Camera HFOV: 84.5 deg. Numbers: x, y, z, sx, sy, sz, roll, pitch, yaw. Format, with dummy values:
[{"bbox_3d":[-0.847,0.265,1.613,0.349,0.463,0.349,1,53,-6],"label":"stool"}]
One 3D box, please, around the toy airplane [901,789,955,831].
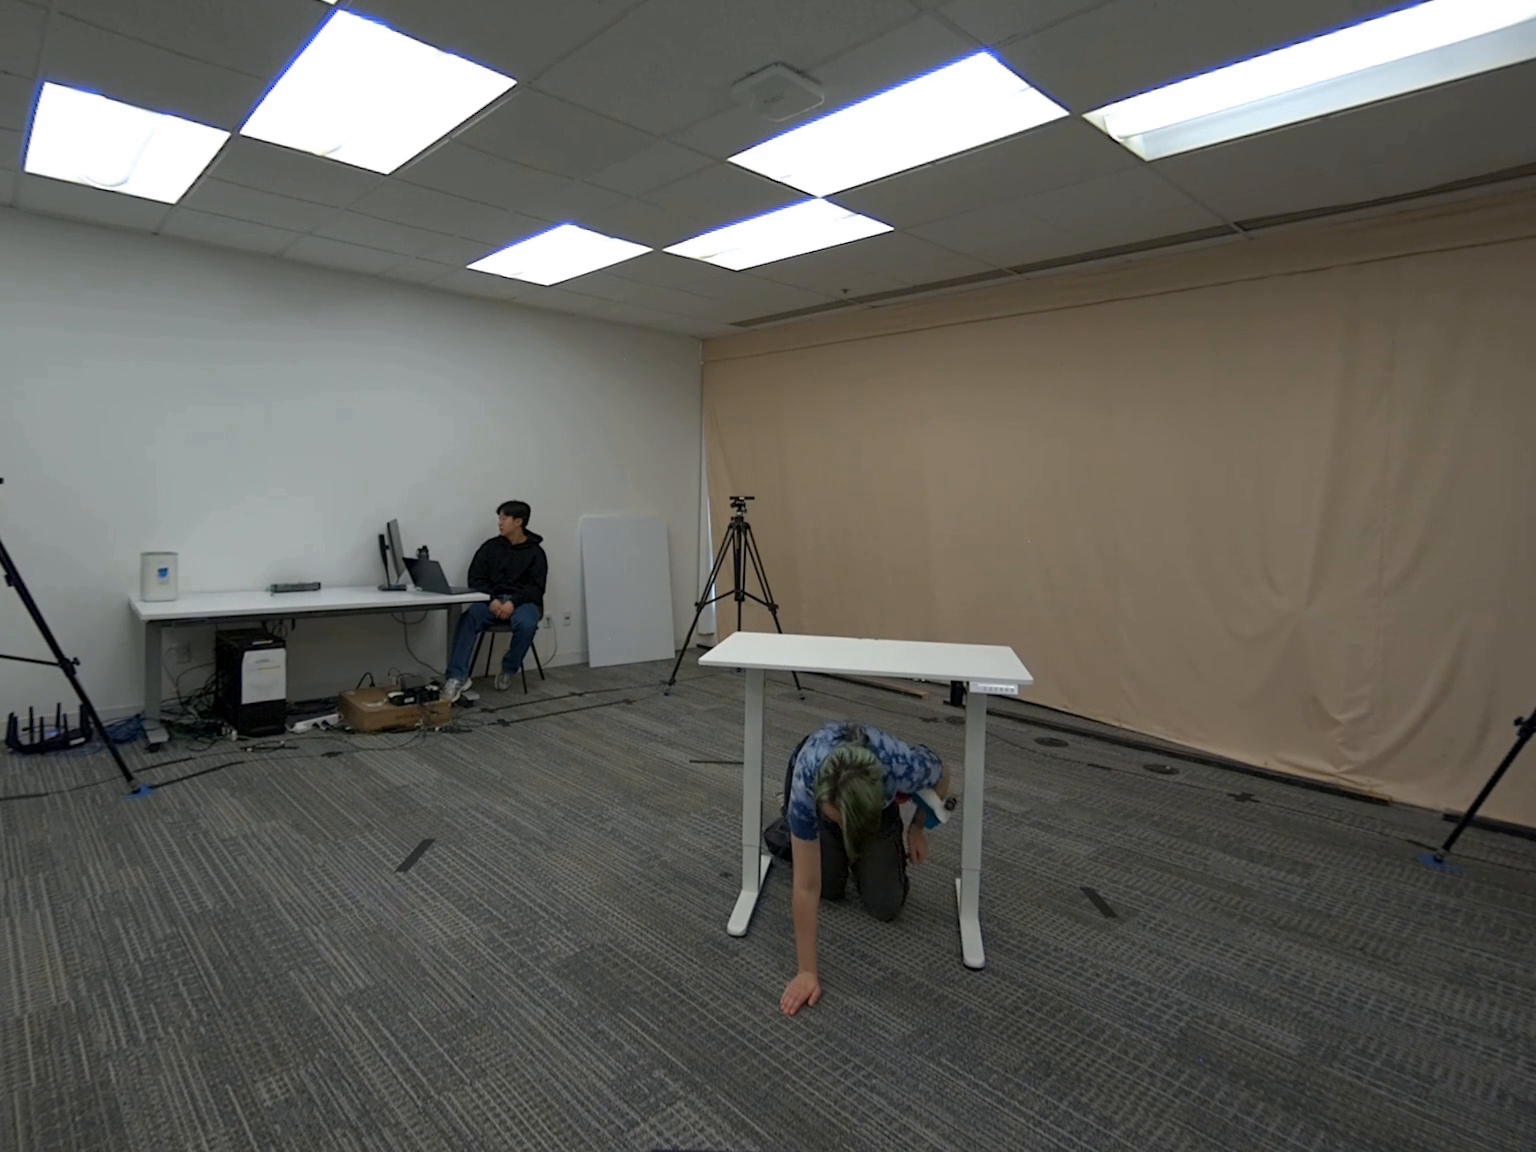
[{"bbox_3d":[0.473,0.677,2.697,0.157,0.266,0.243,-34,-42,20],"label":"toy airplane"}]
